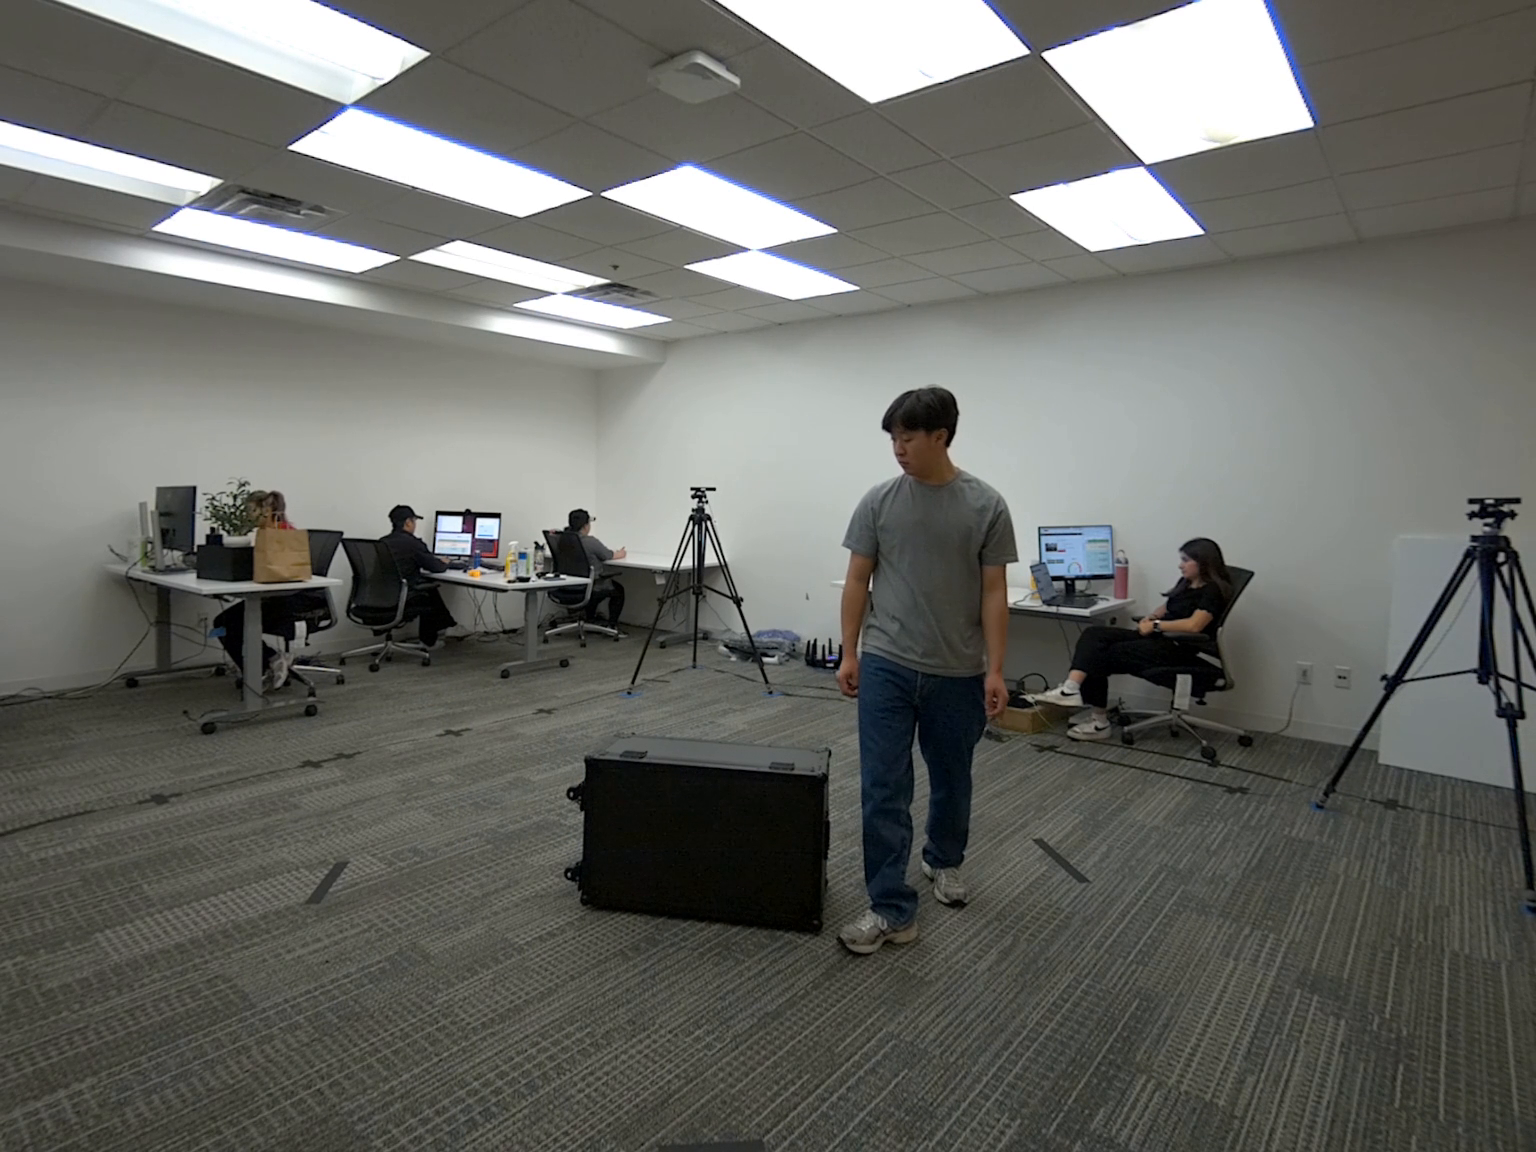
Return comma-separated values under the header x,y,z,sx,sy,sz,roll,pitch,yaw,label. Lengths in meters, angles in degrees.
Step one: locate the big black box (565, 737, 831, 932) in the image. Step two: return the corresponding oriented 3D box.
x,y,z,sx,sy,sz,roll,pitch,yaw,label
-0.236,0.830,2.902,0.871,0.521,0.392,2,0,9,big black box
